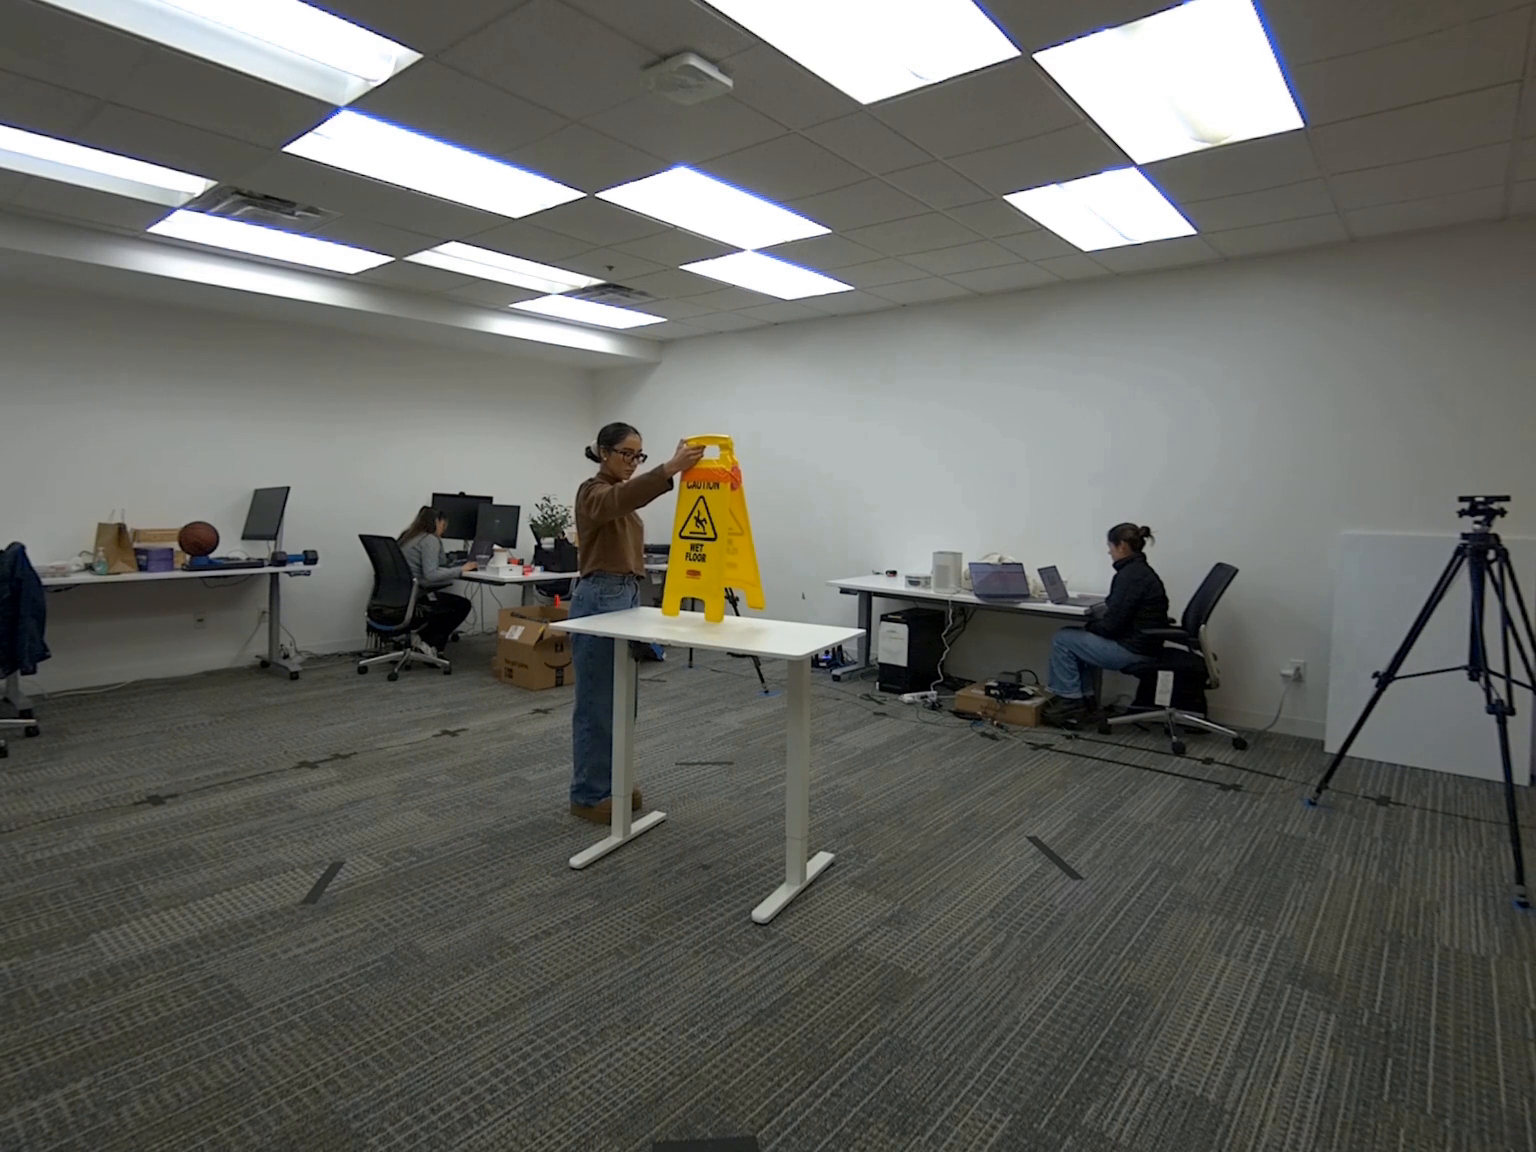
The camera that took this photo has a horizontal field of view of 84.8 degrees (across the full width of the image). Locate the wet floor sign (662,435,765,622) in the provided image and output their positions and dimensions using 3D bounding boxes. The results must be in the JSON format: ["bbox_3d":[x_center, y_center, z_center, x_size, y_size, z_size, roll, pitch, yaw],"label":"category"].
[{"bbox_3d":[-0.218,-0.187,3.096,0.291,0.642,0.282,2,8,36],"label":"wet floor sign"}]
